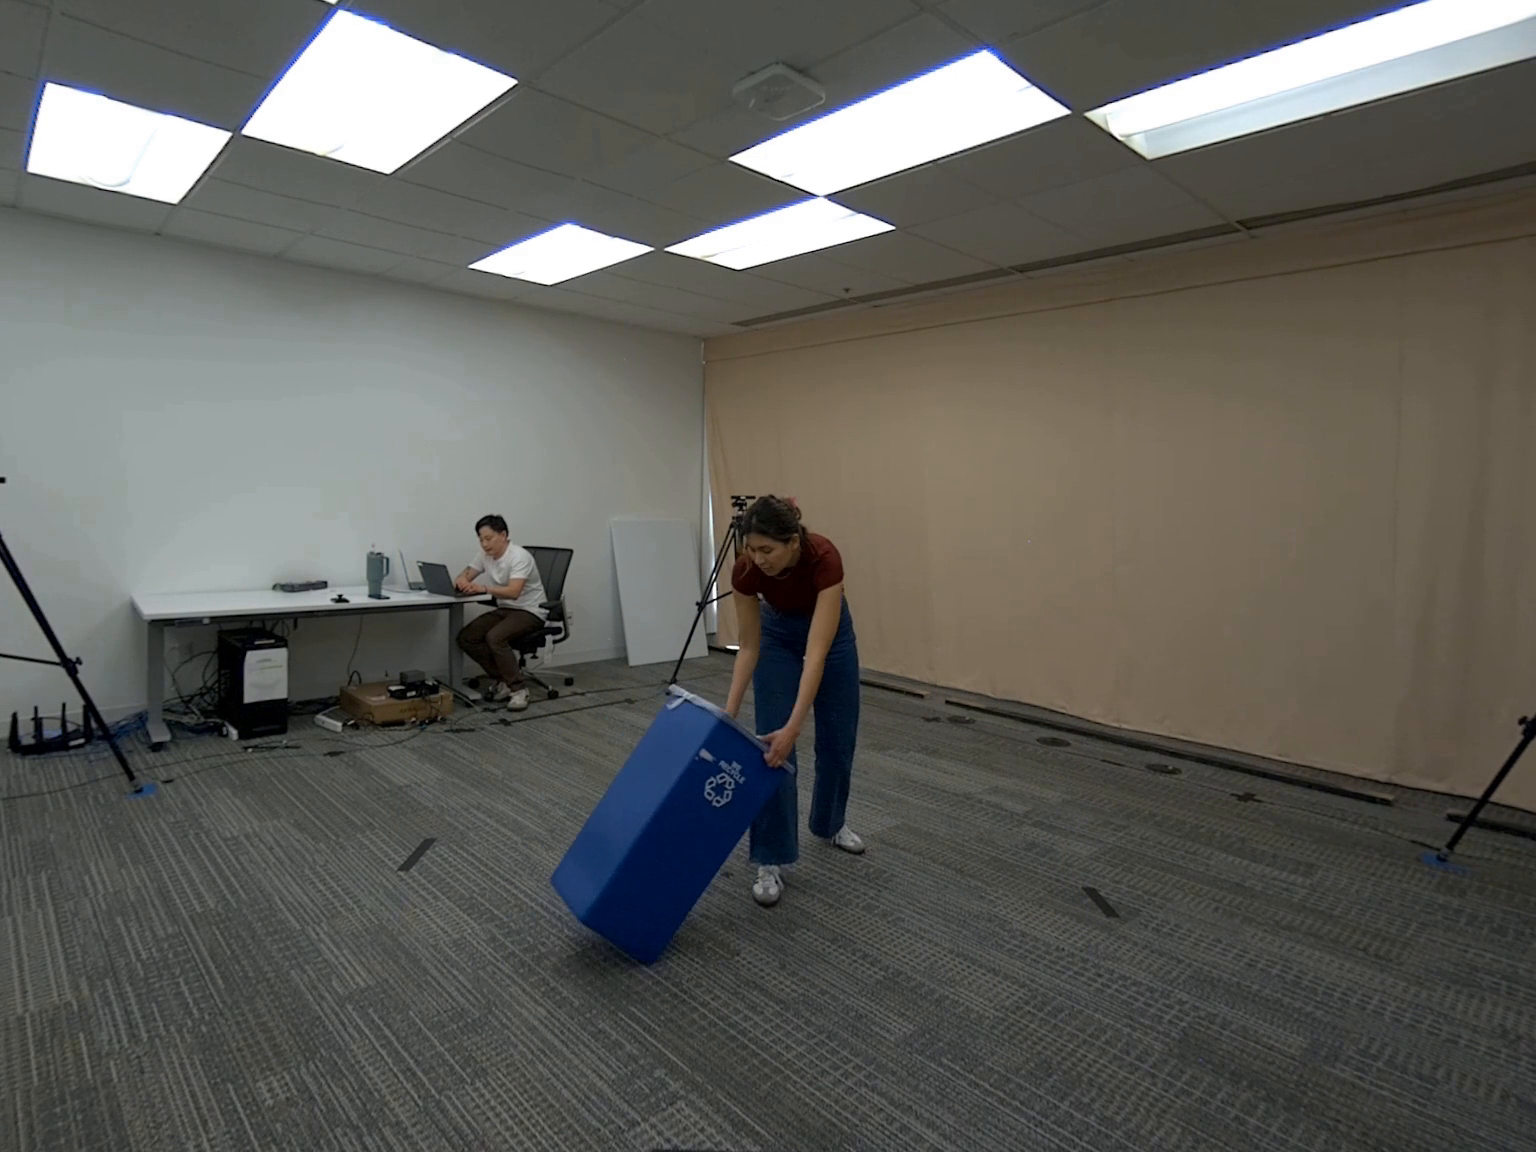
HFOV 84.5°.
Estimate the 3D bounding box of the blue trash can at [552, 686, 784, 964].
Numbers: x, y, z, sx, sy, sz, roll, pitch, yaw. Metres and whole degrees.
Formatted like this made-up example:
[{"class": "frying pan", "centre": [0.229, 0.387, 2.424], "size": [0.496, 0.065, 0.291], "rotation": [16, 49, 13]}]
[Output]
[{"class": "blue trash can", "centre": [-0.307, 0.772, 2.644], "size": [0.364, 0.715, 0.387], "rotation": [42, -16, -28]}]
